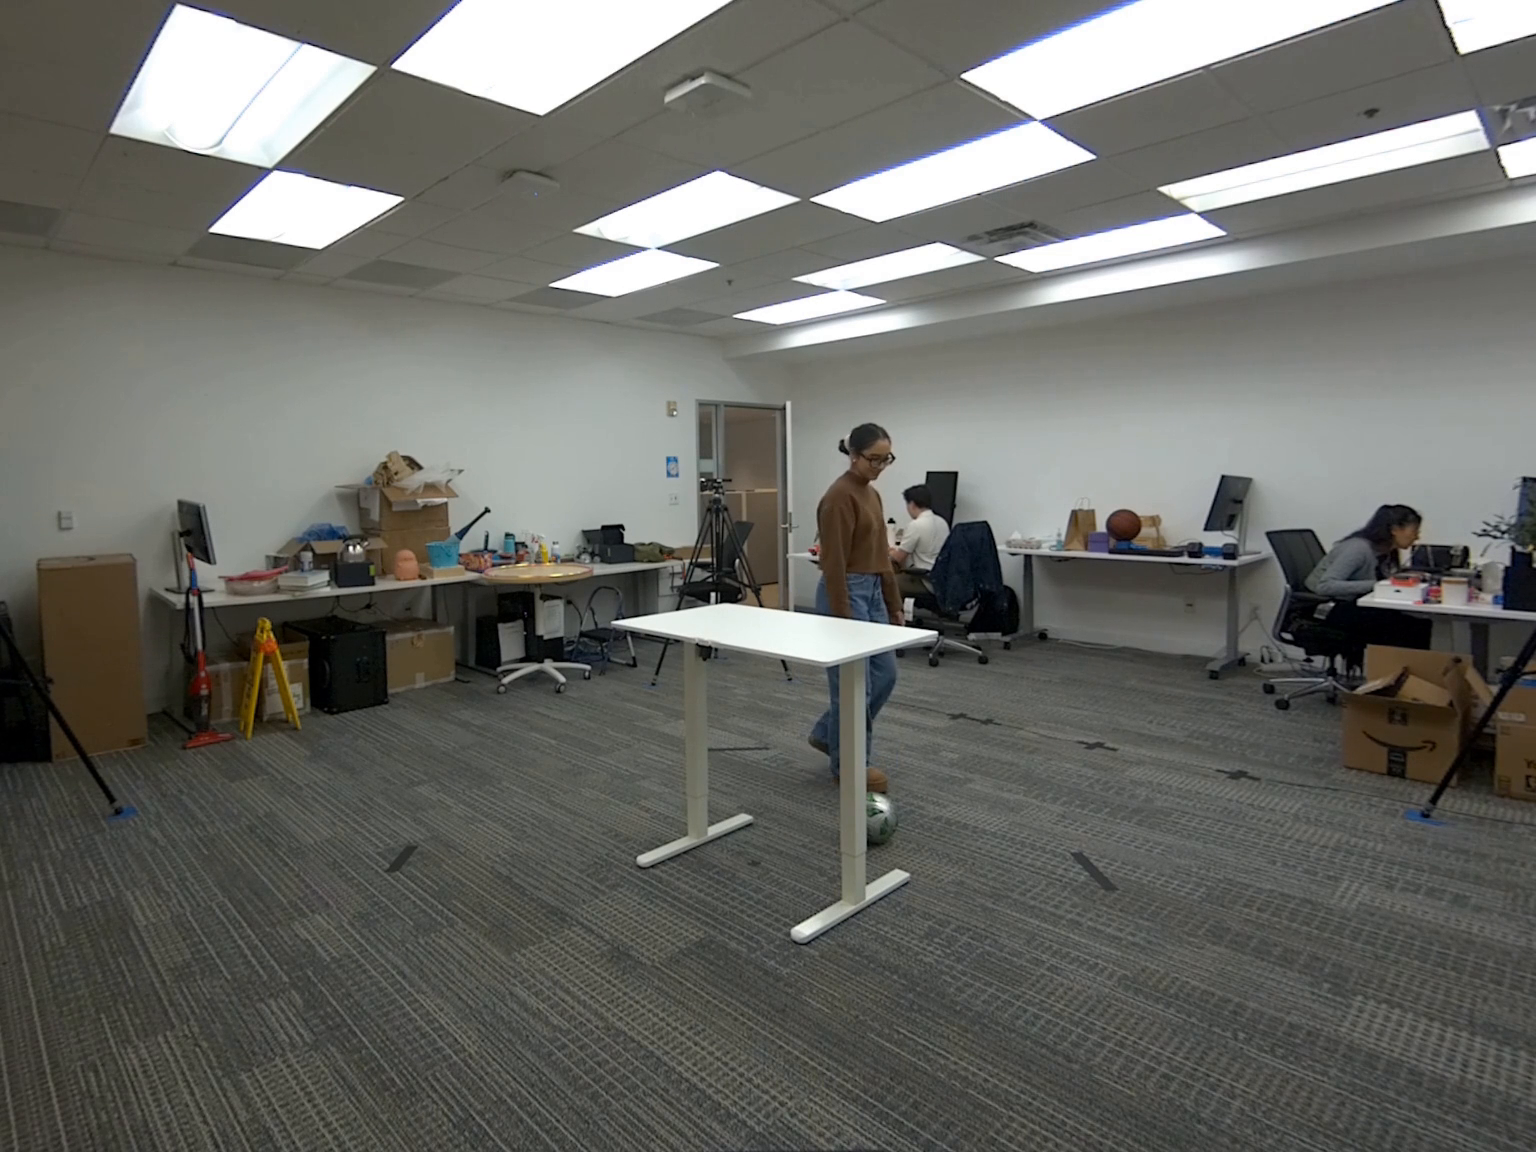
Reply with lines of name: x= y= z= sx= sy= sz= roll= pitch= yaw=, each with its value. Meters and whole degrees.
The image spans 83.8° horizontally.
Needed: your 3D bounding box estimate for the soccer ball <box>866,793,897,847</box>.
soccer ball: x=0.410 y=0.929 z=3.274 sx=0.187 sy=0.187 sz=0.188 roll=-1 pitch=5 yaw=-2
